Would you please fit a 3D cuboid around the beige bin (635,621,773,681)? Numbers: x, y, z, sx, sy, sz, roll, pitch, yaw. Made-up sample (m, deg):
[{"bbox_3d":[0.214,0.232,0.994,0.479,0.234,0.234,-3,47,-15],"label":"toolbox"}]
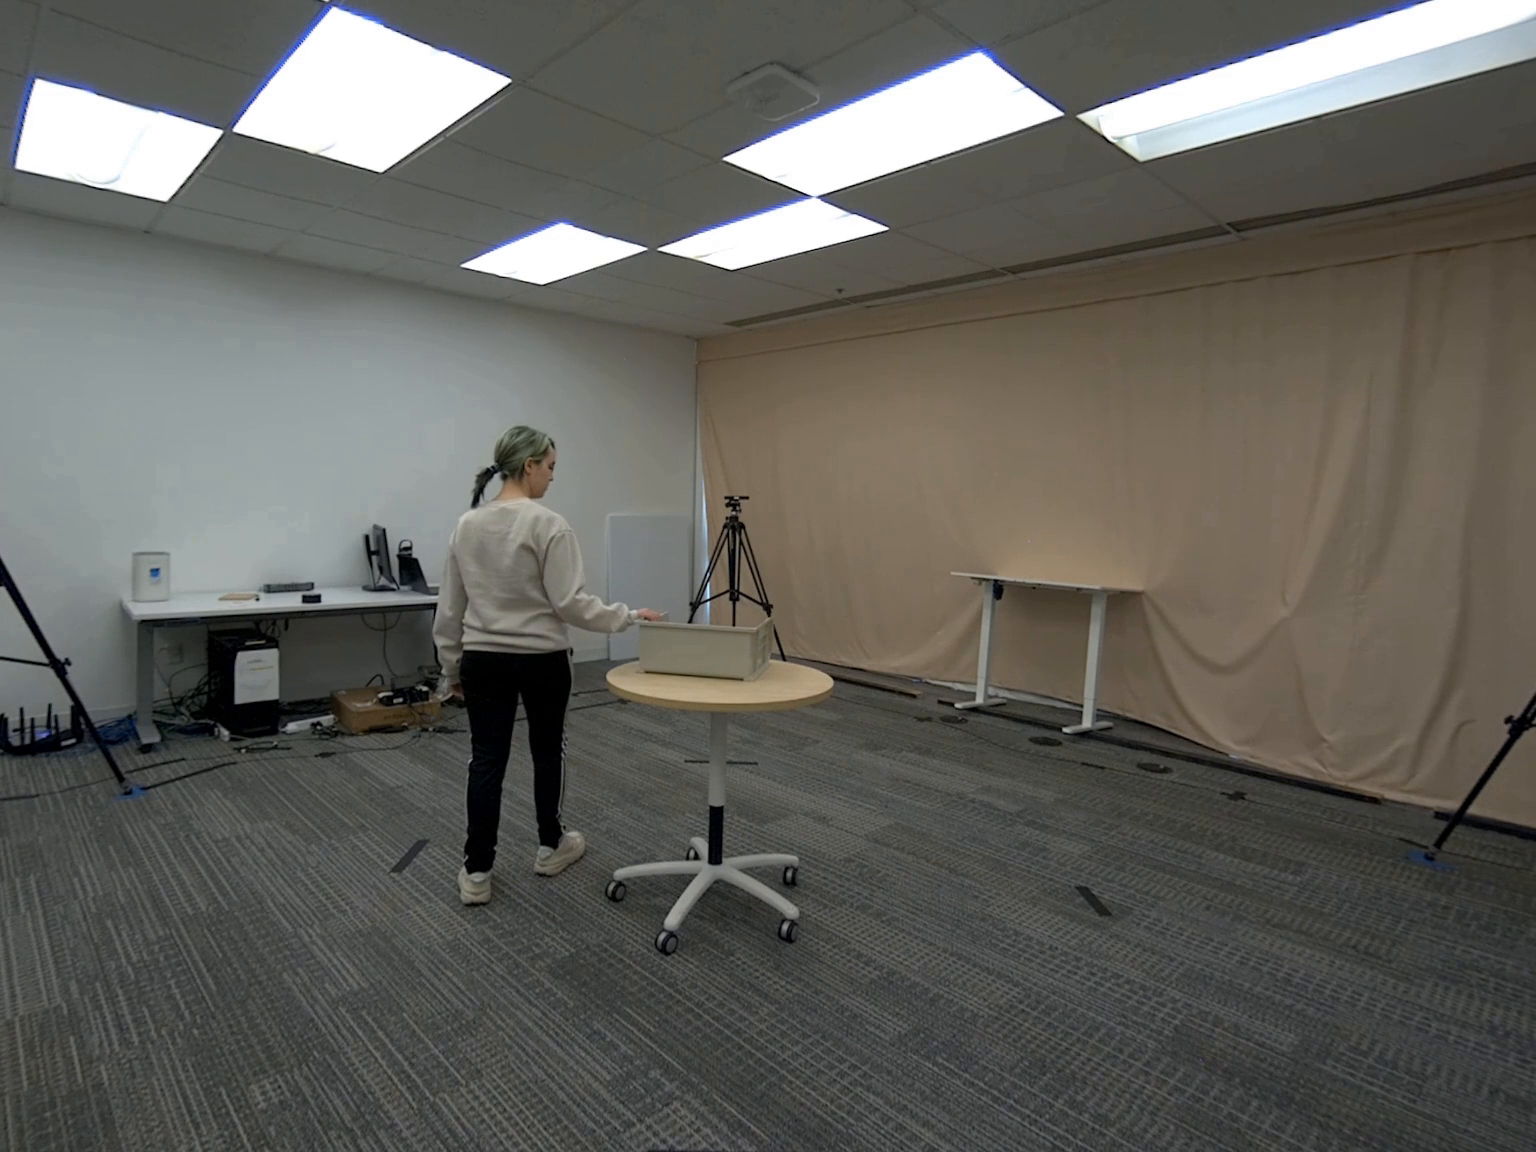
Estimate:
[{"bbox_3d":[-0.212,0.238,2.989,0.426,0.188,0.376,4,8,10],"label":"beige bin"}]
